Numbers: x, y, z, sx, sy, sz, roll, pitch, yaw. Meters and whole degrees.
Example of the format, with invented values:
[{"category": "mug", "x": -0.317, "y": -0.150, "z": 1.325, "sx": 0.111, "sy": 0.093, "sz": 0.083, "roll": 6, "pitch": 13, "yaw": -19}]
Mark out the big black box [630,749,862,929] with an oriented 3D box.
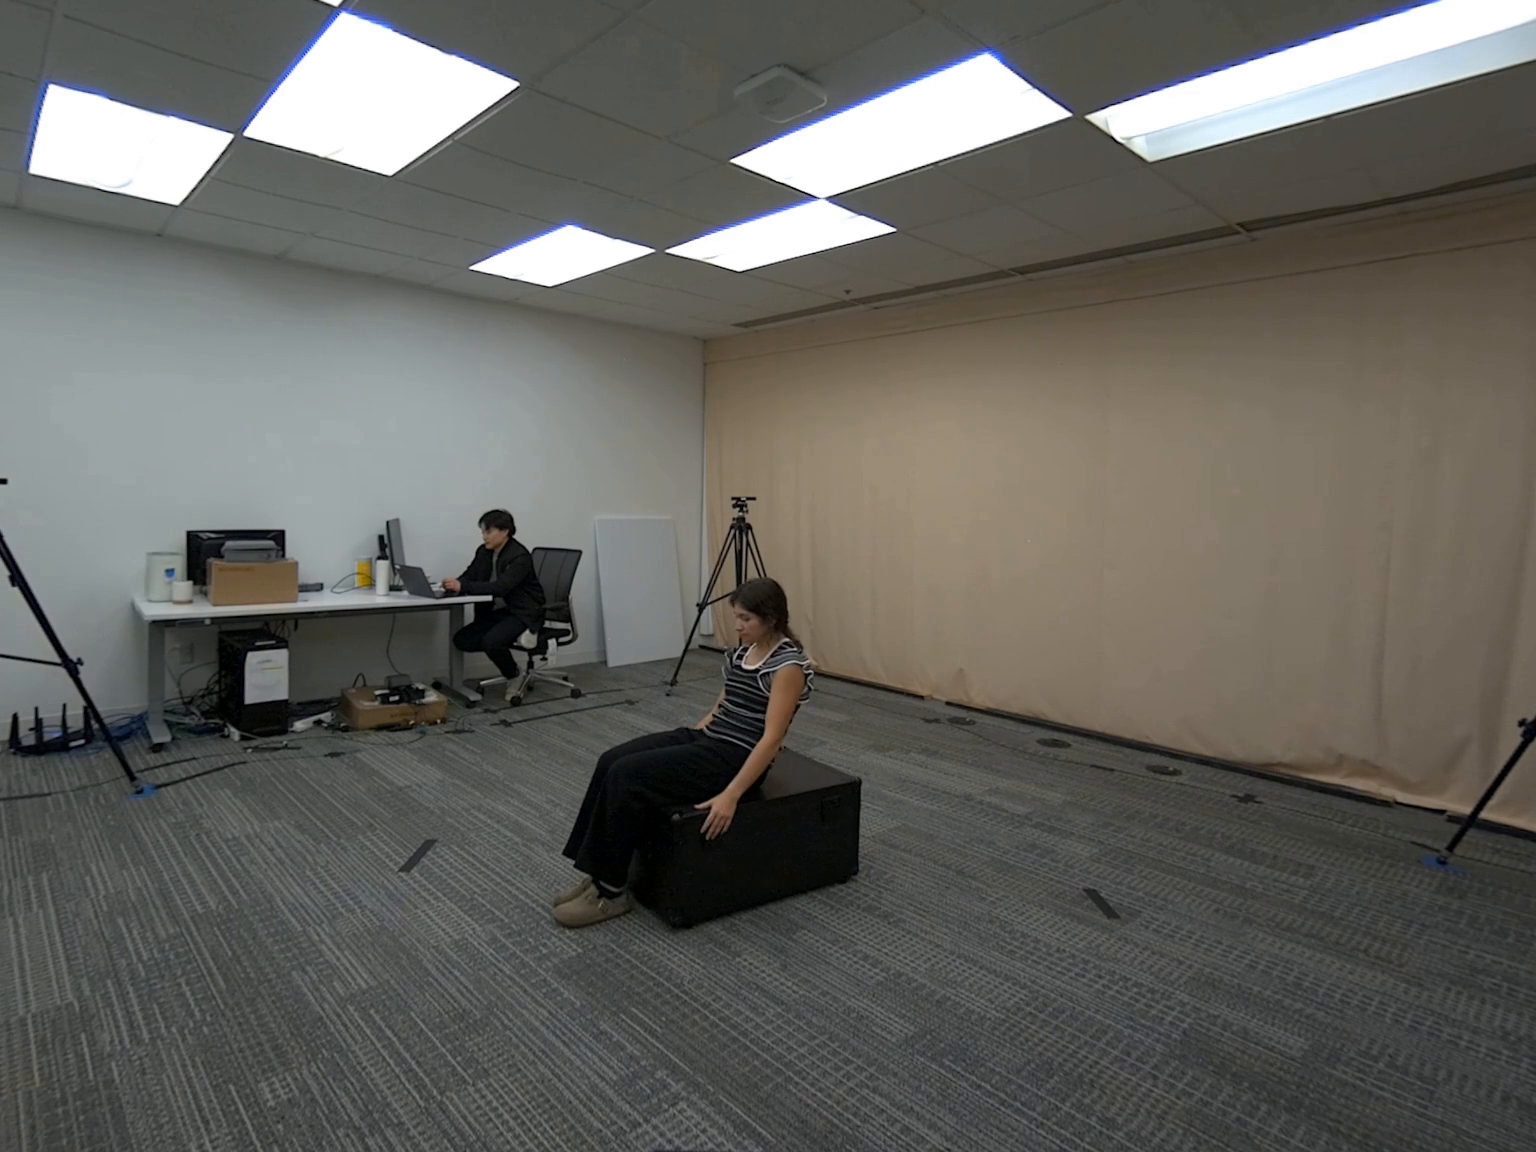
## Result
[{"category": "big black box", "x": -0.091, "y": 0.921, "z": 3.088, "sx": 0.843, "sy": 0.395, "sz": 0.534, "roll": -3, "pitch": 7, "yaw": -34}]
